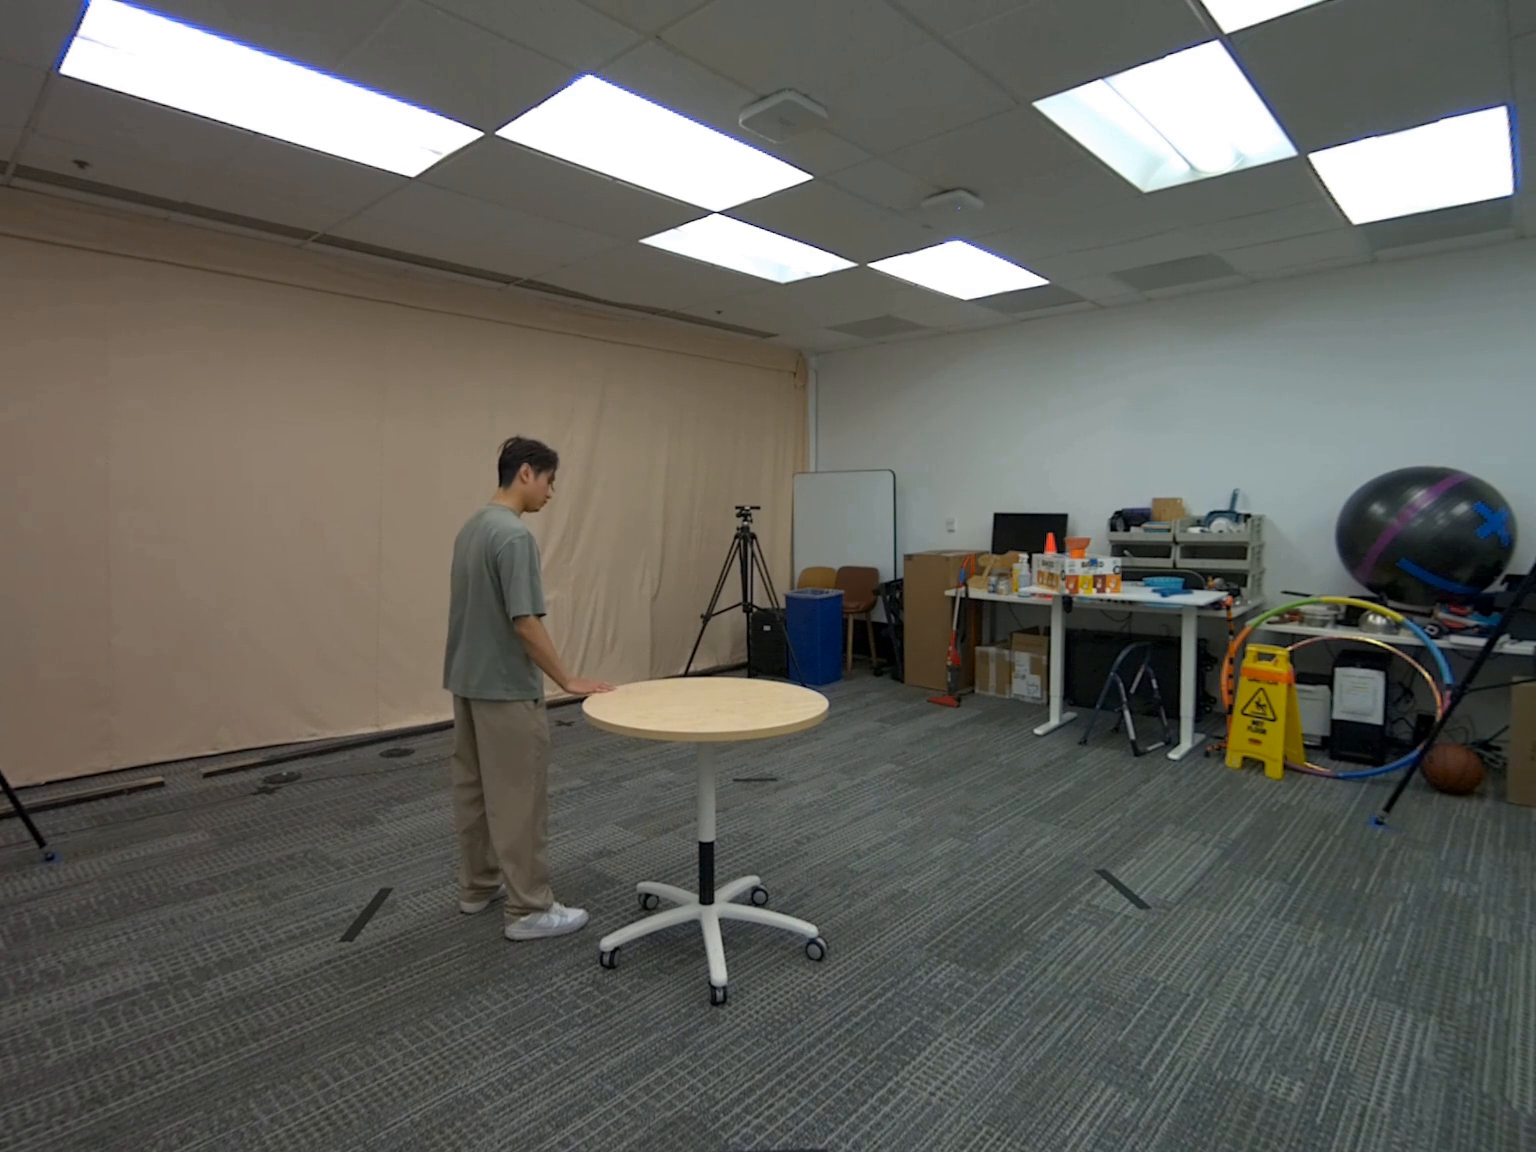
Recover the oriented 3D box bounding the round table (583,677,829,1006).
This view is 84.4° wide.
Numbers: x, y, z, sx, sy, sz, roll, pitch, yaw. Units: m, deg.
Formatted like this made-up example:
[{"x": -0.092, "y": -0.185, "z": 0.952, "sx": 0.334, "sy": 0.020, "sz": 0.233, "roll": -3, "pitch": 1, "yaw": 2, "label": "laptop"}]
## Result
[{"x": -0.187, "y": 0.788, "z": 2.642, "sx": 0.763, "sy": 0.792, "sz": 0.766, "roll": 0, "pitch": 4, "yaw": -2, "label": "round table"}]
